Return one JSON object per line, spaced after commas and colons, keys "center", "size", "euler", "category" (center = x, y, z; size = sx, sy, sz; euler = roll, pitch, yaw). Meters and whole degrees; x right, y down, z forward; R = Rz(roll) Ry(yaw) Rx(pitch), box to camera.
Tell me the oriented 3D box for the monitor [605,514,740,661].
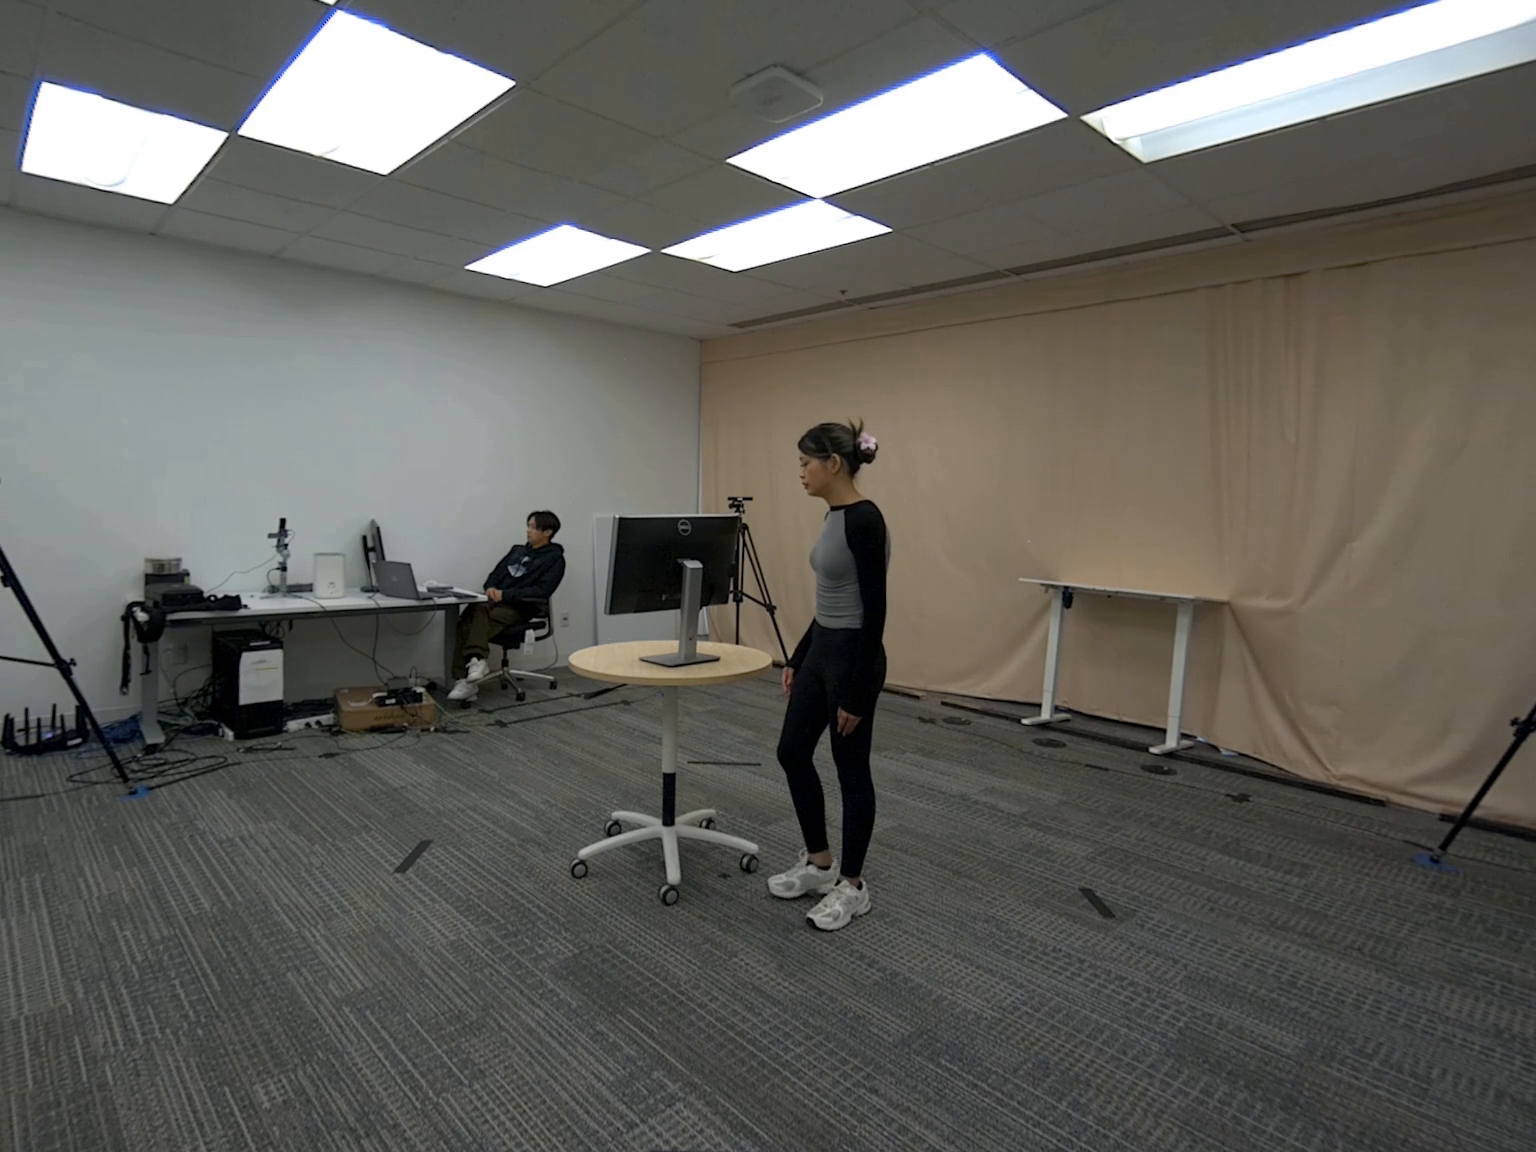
{"center": [-0.329, 0.049, 3.110], "size": [0.527, 0.521, 0.192], "euler": [-3, 4, -44], "category": "monitor"}
